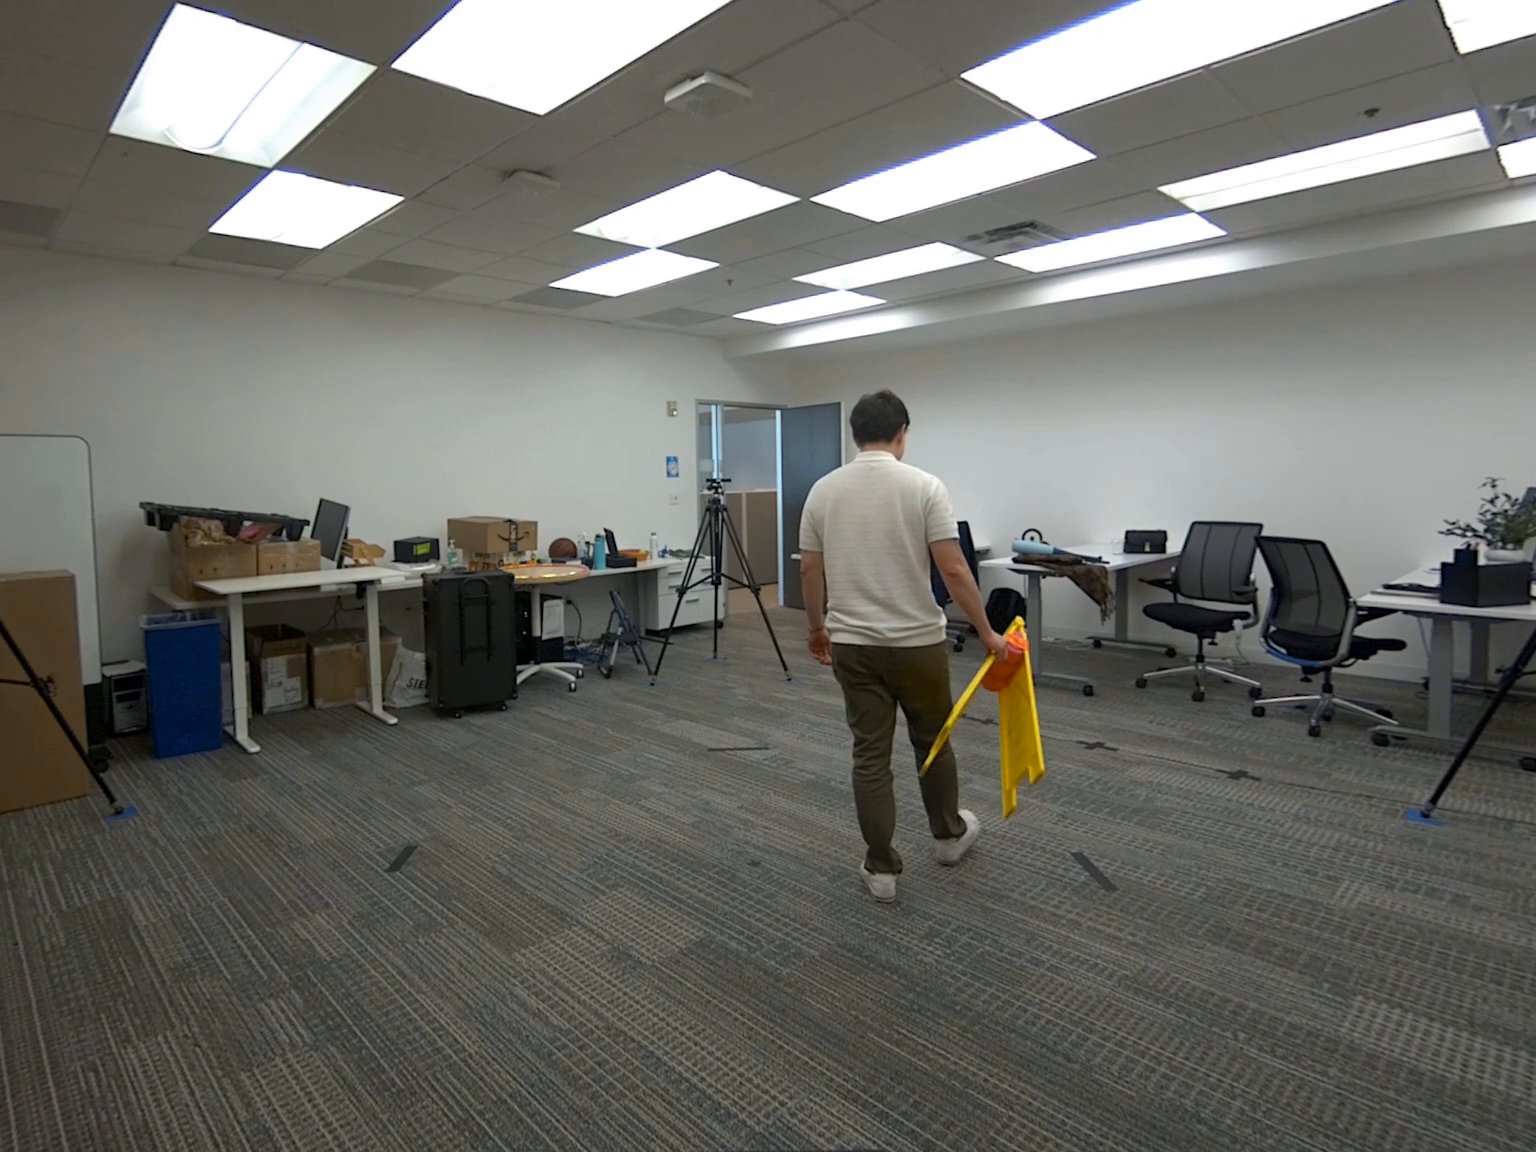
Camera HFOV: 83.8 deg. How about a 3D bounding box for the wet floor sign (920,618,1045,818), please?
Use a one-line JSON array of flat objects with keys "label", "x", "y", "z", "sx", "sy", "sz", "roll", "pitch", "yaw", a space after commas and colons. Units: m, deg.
[{"label": "wet floor sign", "x": 0.743, "y": 0.405, "z": 2.795, "sx": 0.293, "sy": 0.277, "sz": 0.650, "roll": 24, "pitch": 44, "yaw": 8}]
